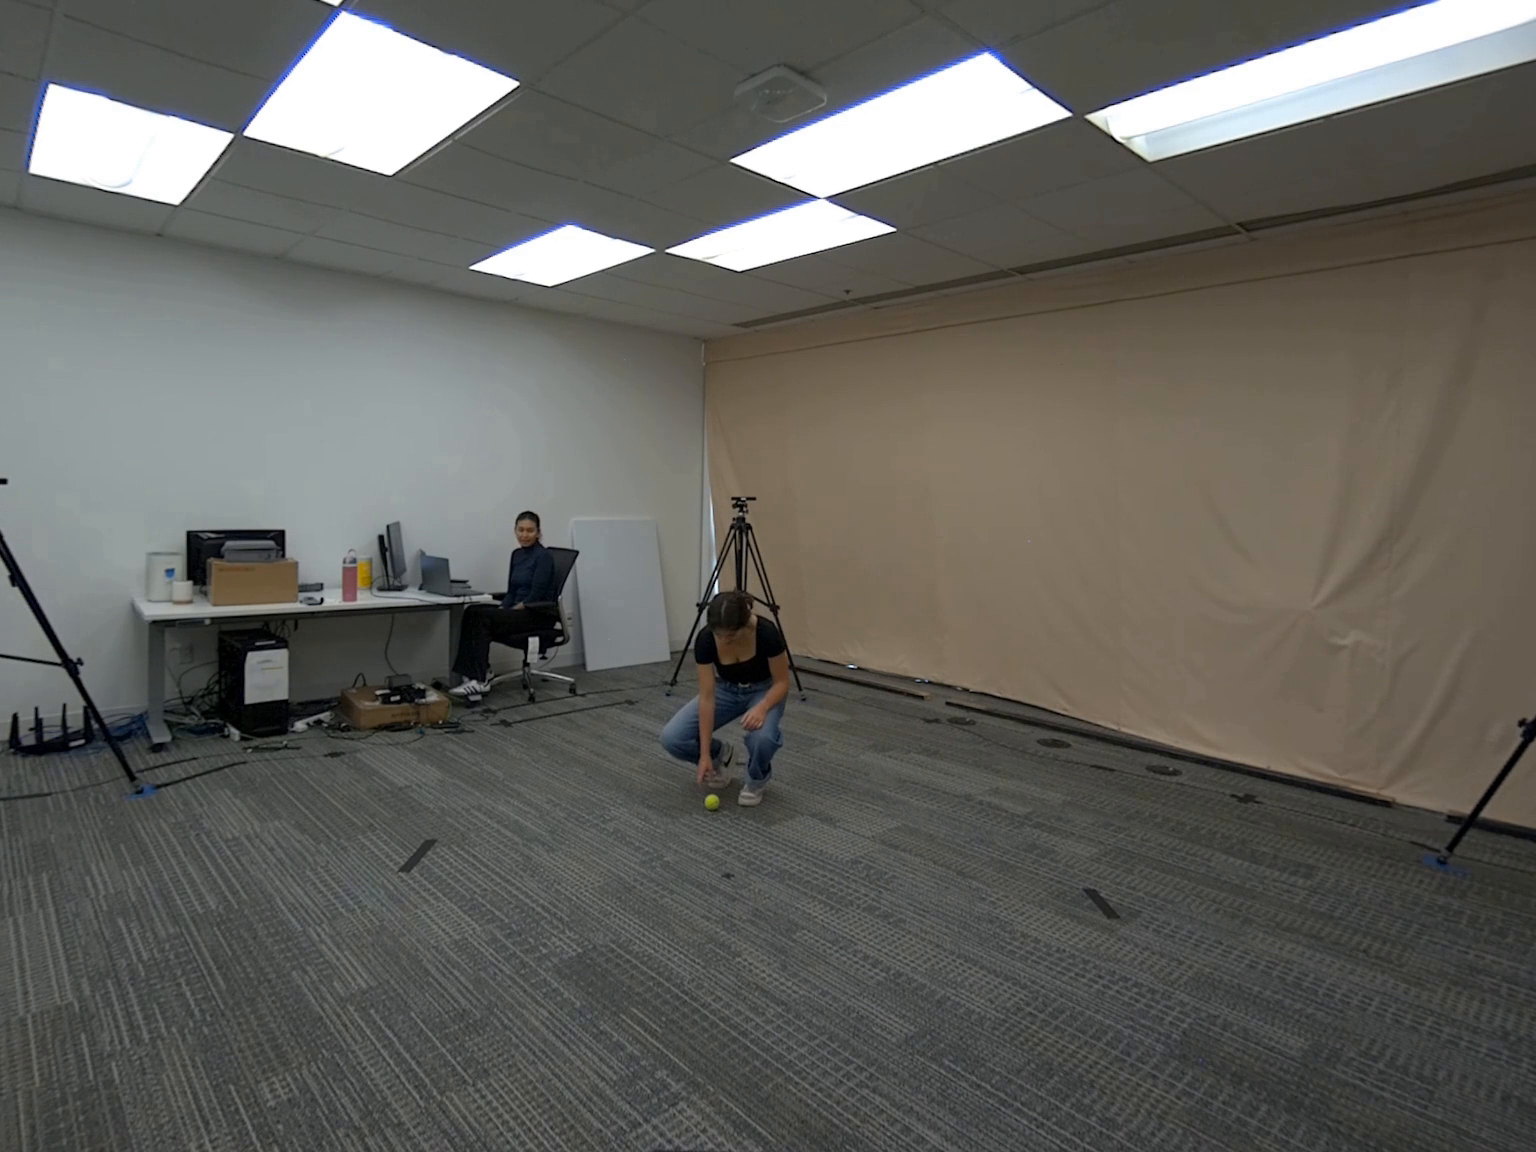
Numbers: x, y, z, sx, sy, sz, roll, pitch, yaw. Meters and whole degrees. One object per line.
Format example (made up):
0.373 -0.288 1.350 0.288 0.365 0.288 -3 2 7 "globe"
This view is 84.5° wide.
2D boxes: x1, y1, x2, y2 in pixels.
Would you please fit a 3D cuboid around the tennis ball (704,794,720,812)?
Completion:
-0.262 0.996 3.760 0.066 0.066 0.067 1 4 -1 "tennis ball"
